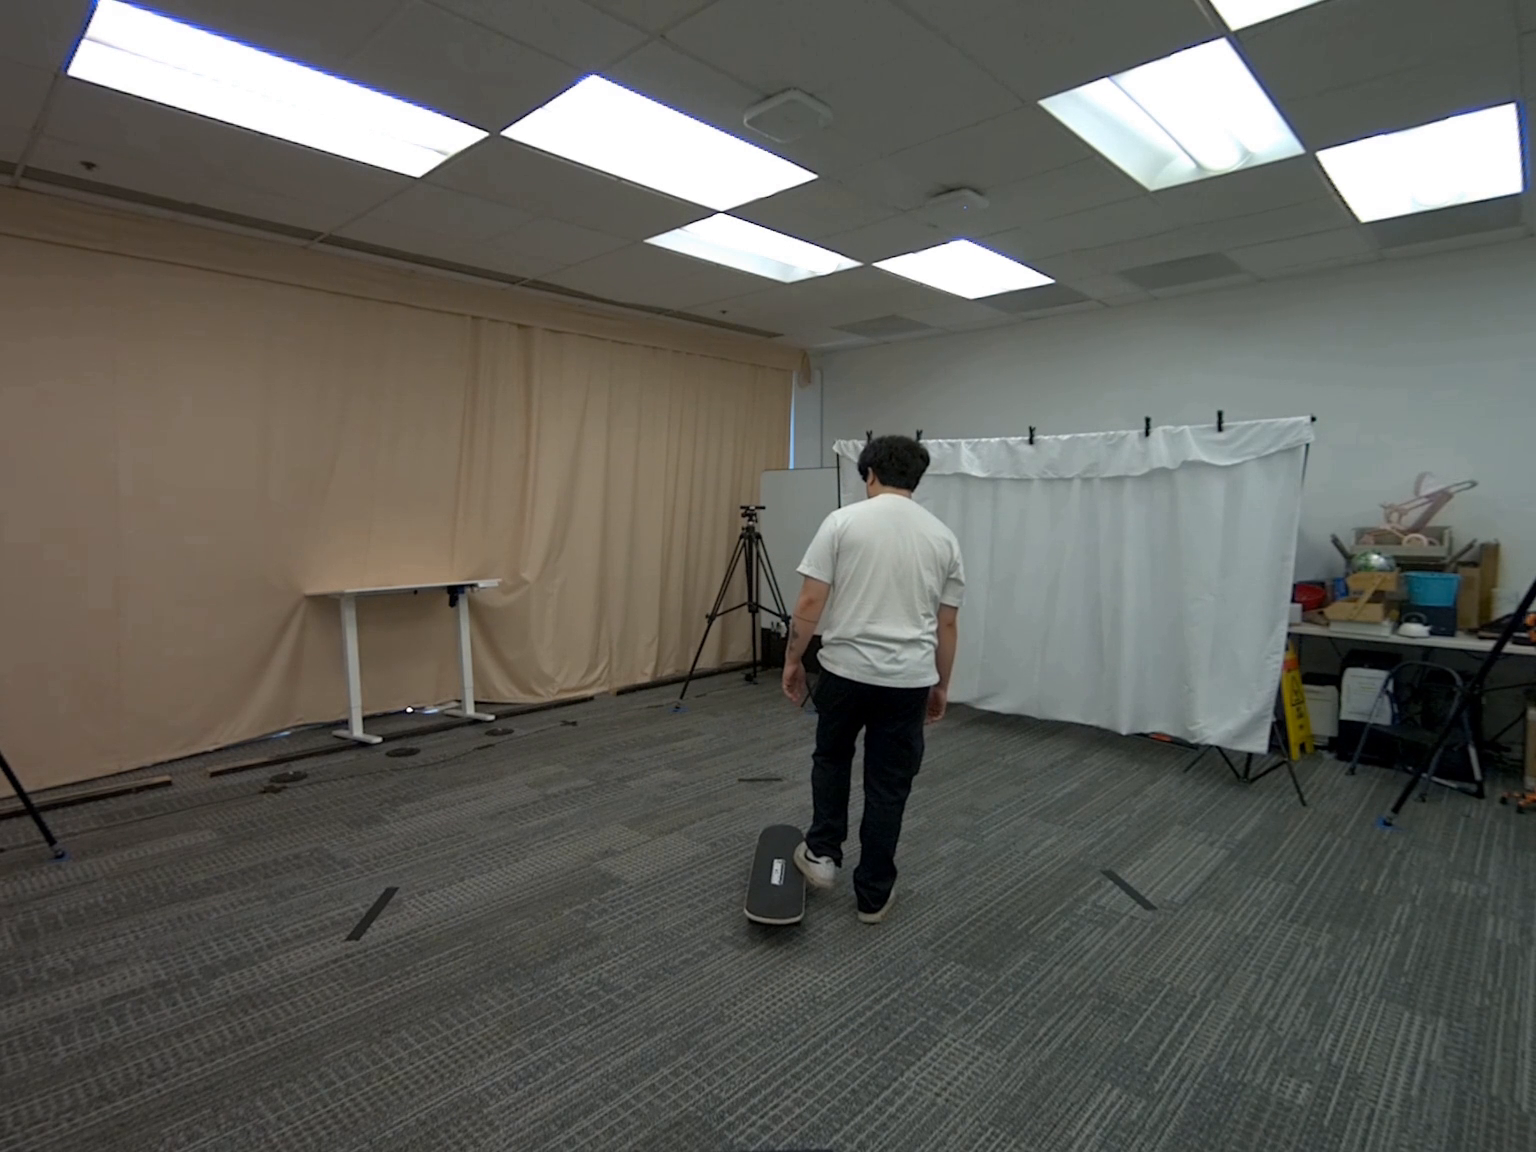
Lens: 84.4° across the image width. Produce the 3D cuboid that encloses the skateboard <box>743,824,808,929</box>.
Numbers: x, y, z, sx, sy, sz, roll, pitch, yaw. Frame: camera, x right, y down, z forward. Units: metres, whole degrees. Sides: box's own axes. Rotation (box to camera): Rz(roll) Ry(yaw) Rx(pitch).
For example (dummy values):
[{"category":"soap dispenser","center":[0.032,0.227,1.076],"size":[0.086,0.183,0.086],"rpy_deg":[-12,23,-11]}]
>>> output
[{"category":"skateboard","center":[0.041,1.083,3.009],"size":[0.194,0.110,0.783],"rpy_deg":[1,5,3]}]
